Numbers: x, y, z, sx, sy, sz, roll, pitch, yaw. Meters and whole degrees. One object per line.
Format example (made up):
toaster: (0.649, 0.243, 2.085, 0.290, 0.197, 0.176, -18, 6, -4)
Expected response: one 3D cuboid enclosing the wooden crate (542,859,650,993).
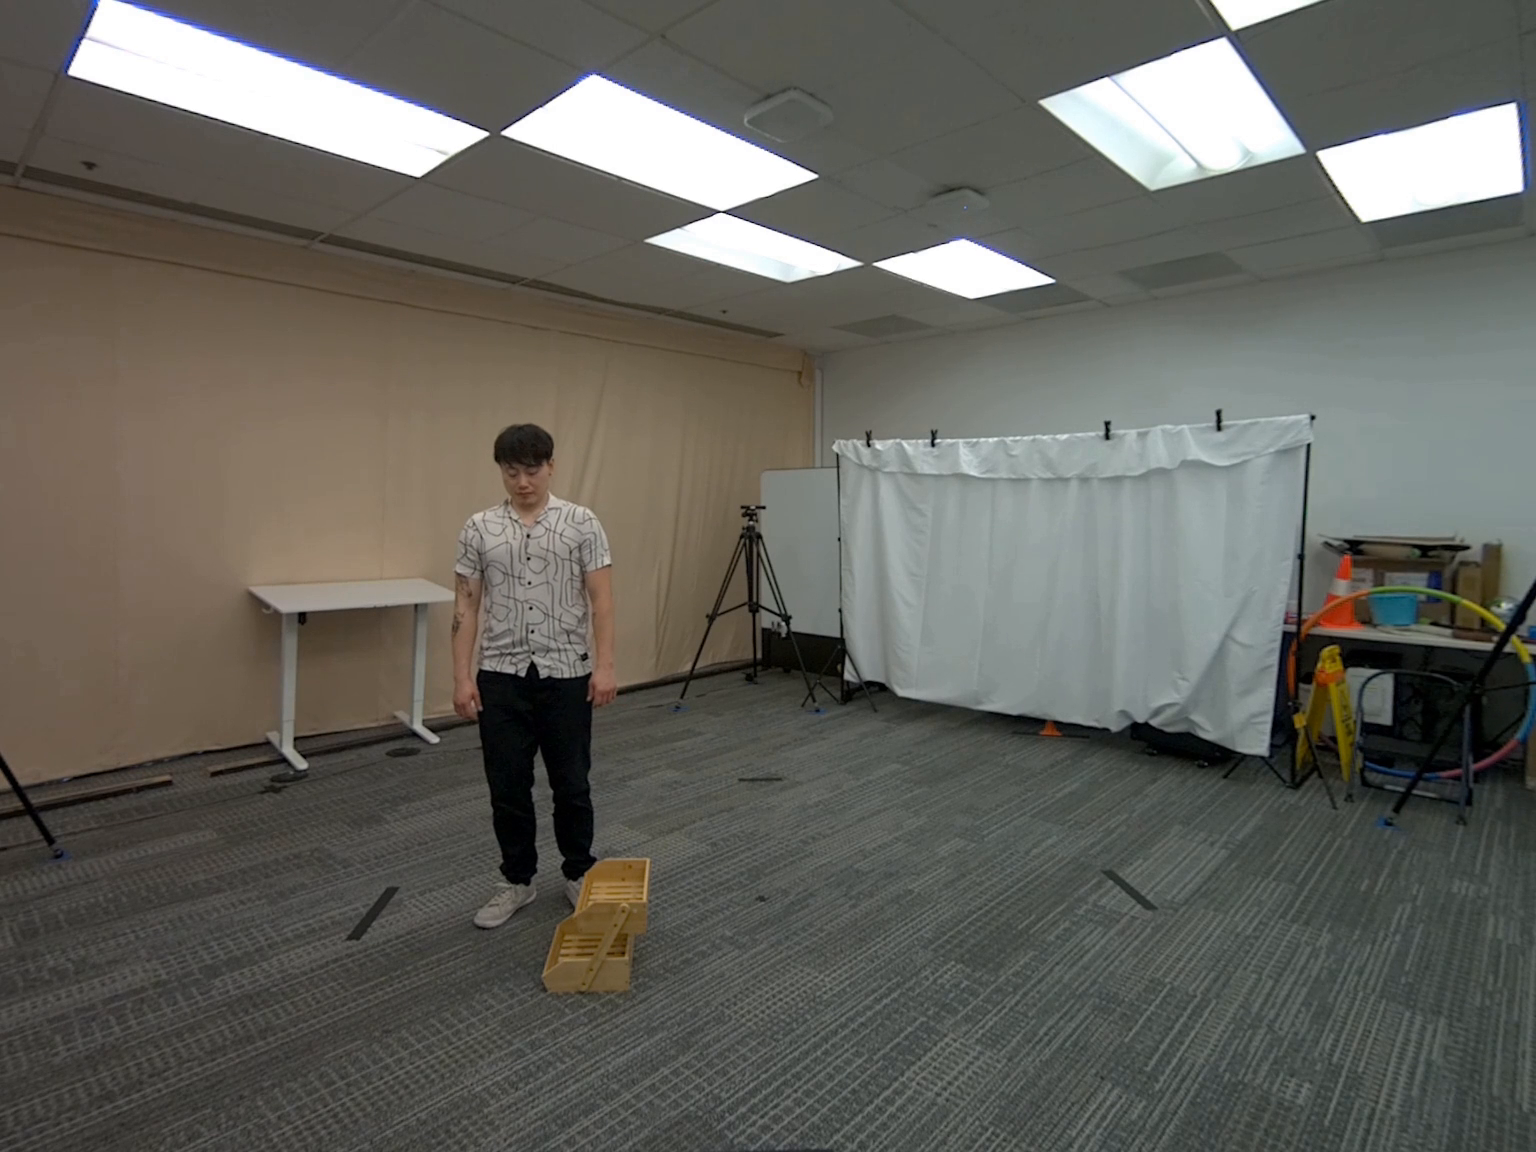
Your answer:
wooden crate: (-0.520, 1.050, 2.556, 0.301, 0.273, 0.327, 0, 4, -5)
